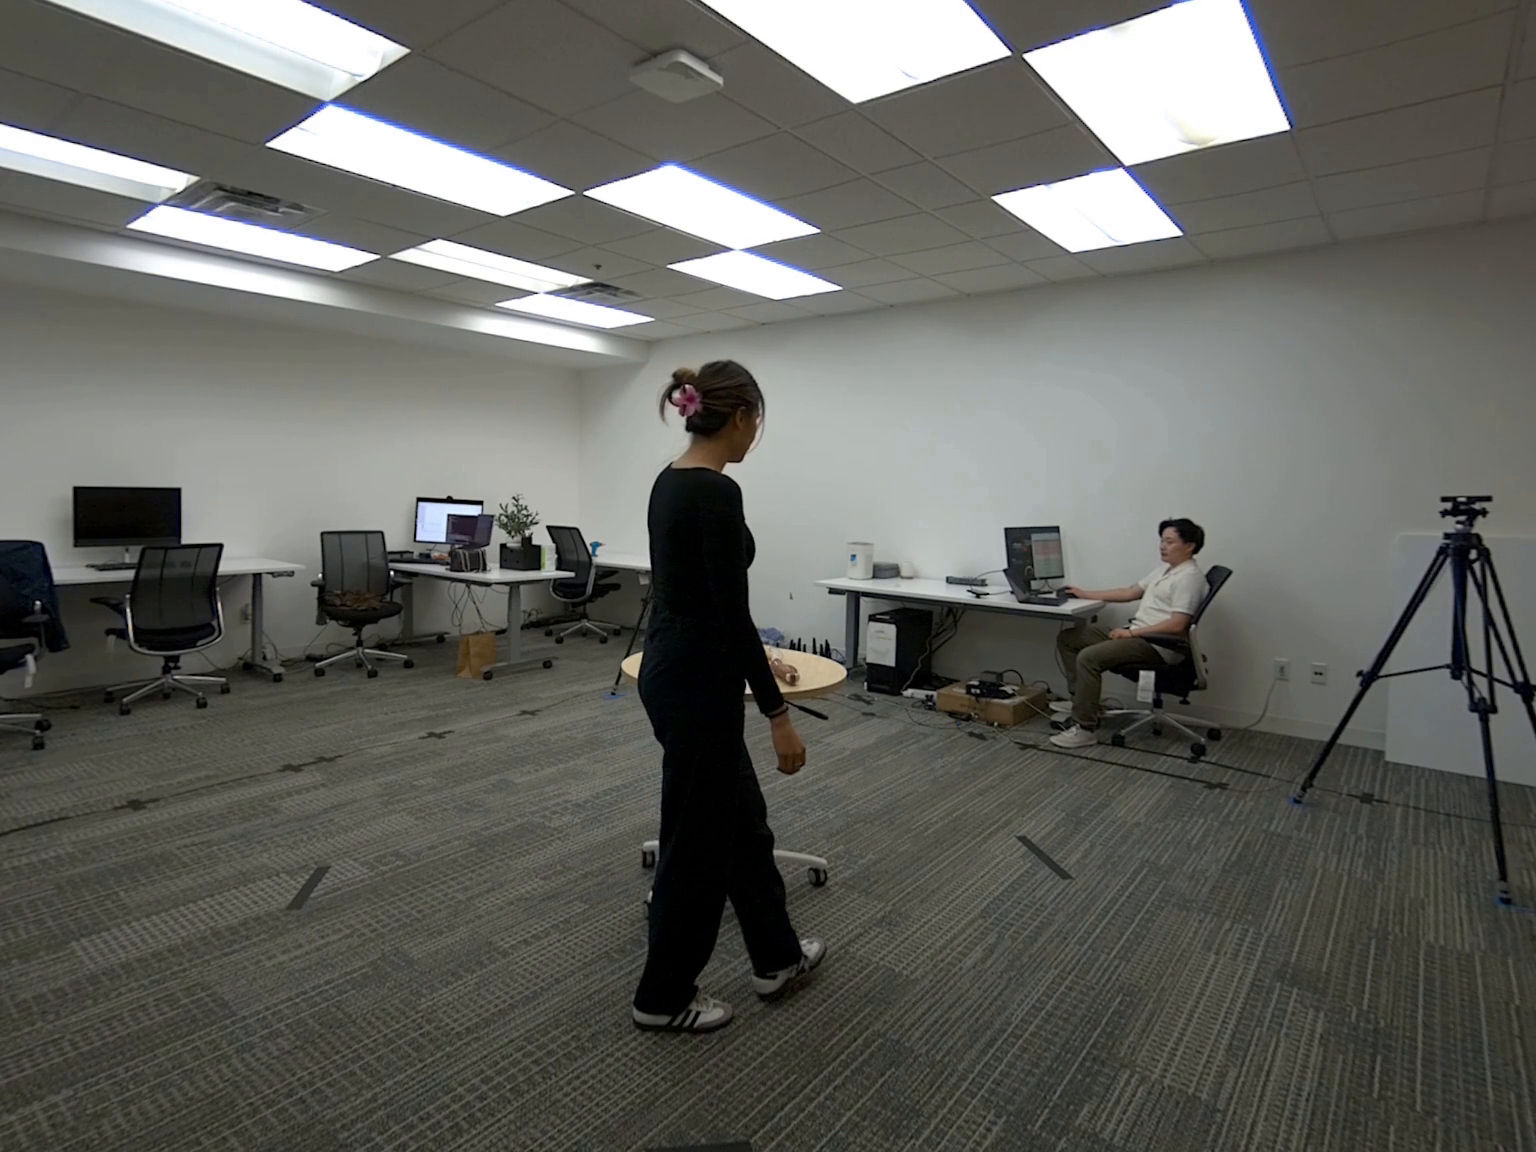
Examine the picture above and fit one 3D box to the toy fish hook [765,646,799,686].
[{"bbox_3d":[-0.039,0.300,2.859,0.222,0.048,0.515,-8,8,-13],"label":"toy fish hook"}]
